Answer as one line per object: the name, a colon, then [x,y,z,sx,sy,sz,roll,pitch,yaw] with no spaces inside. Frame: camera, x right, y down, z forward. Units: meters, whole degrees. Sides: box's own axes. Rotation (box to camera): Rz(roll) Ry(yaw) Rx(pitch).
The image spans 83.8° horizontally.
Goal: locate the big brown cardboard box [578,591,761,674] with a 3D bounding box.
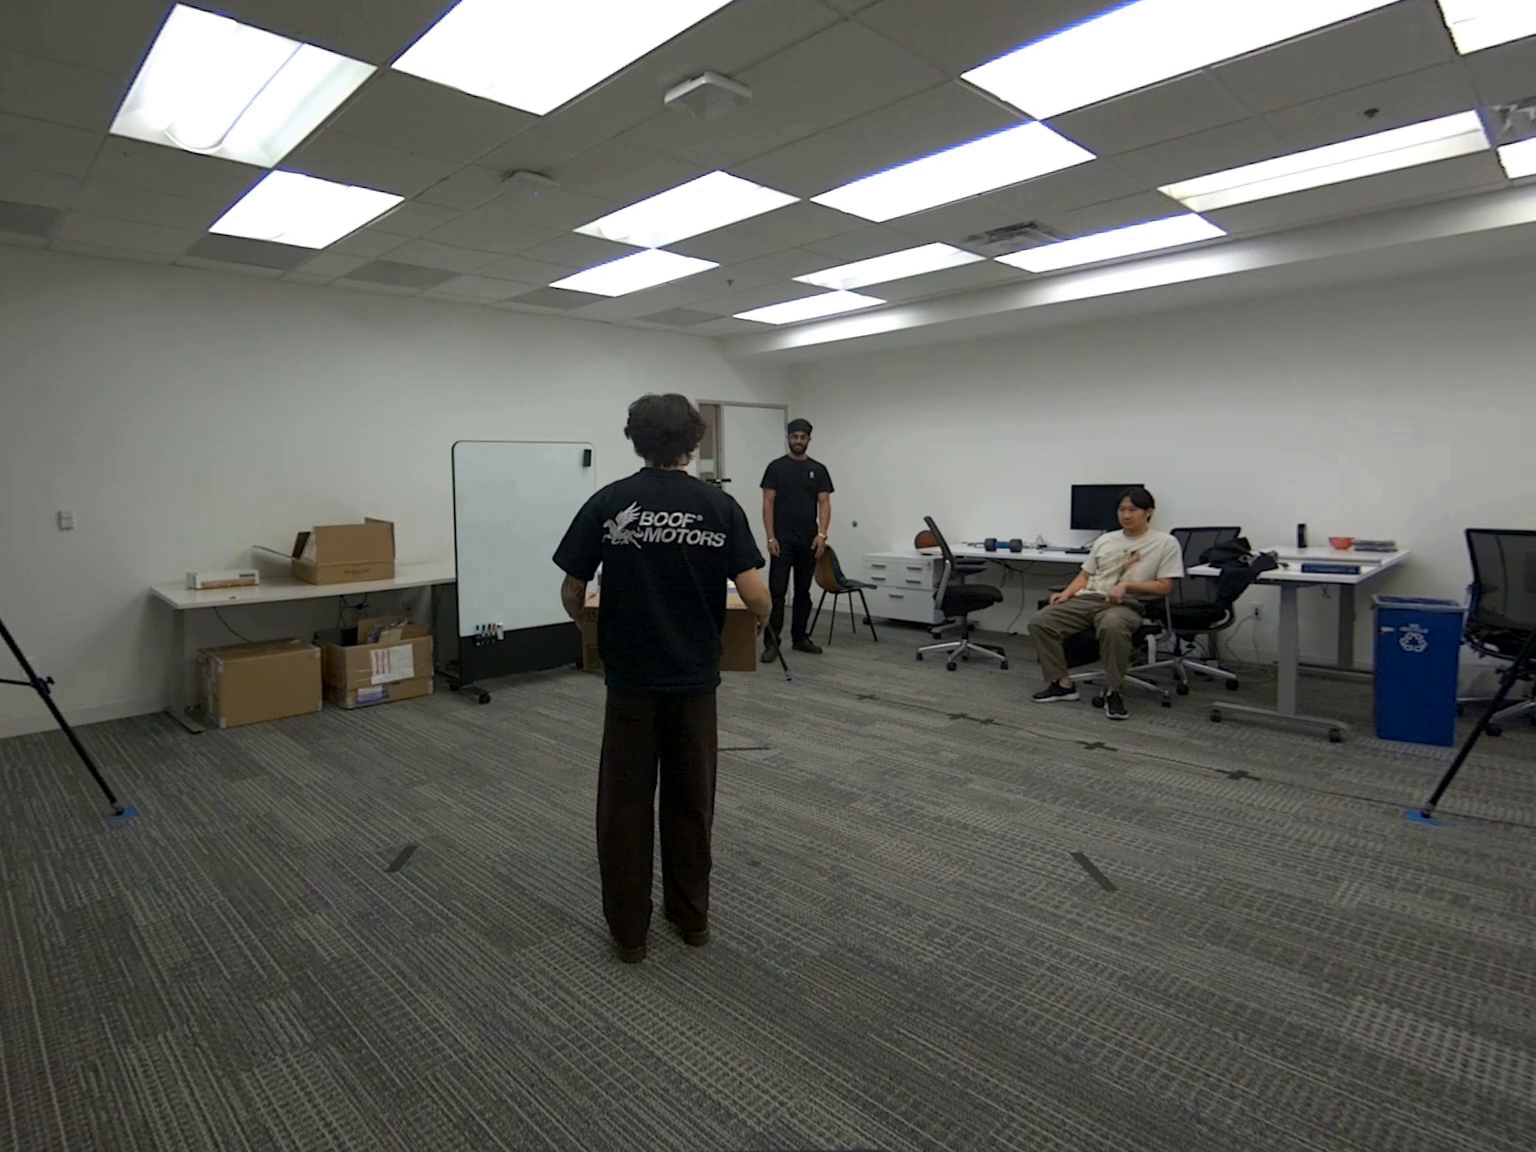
big brown cardboard box: [-0.310,0.155,2.940,0.590,0.231,0.421,-1,12,1]
